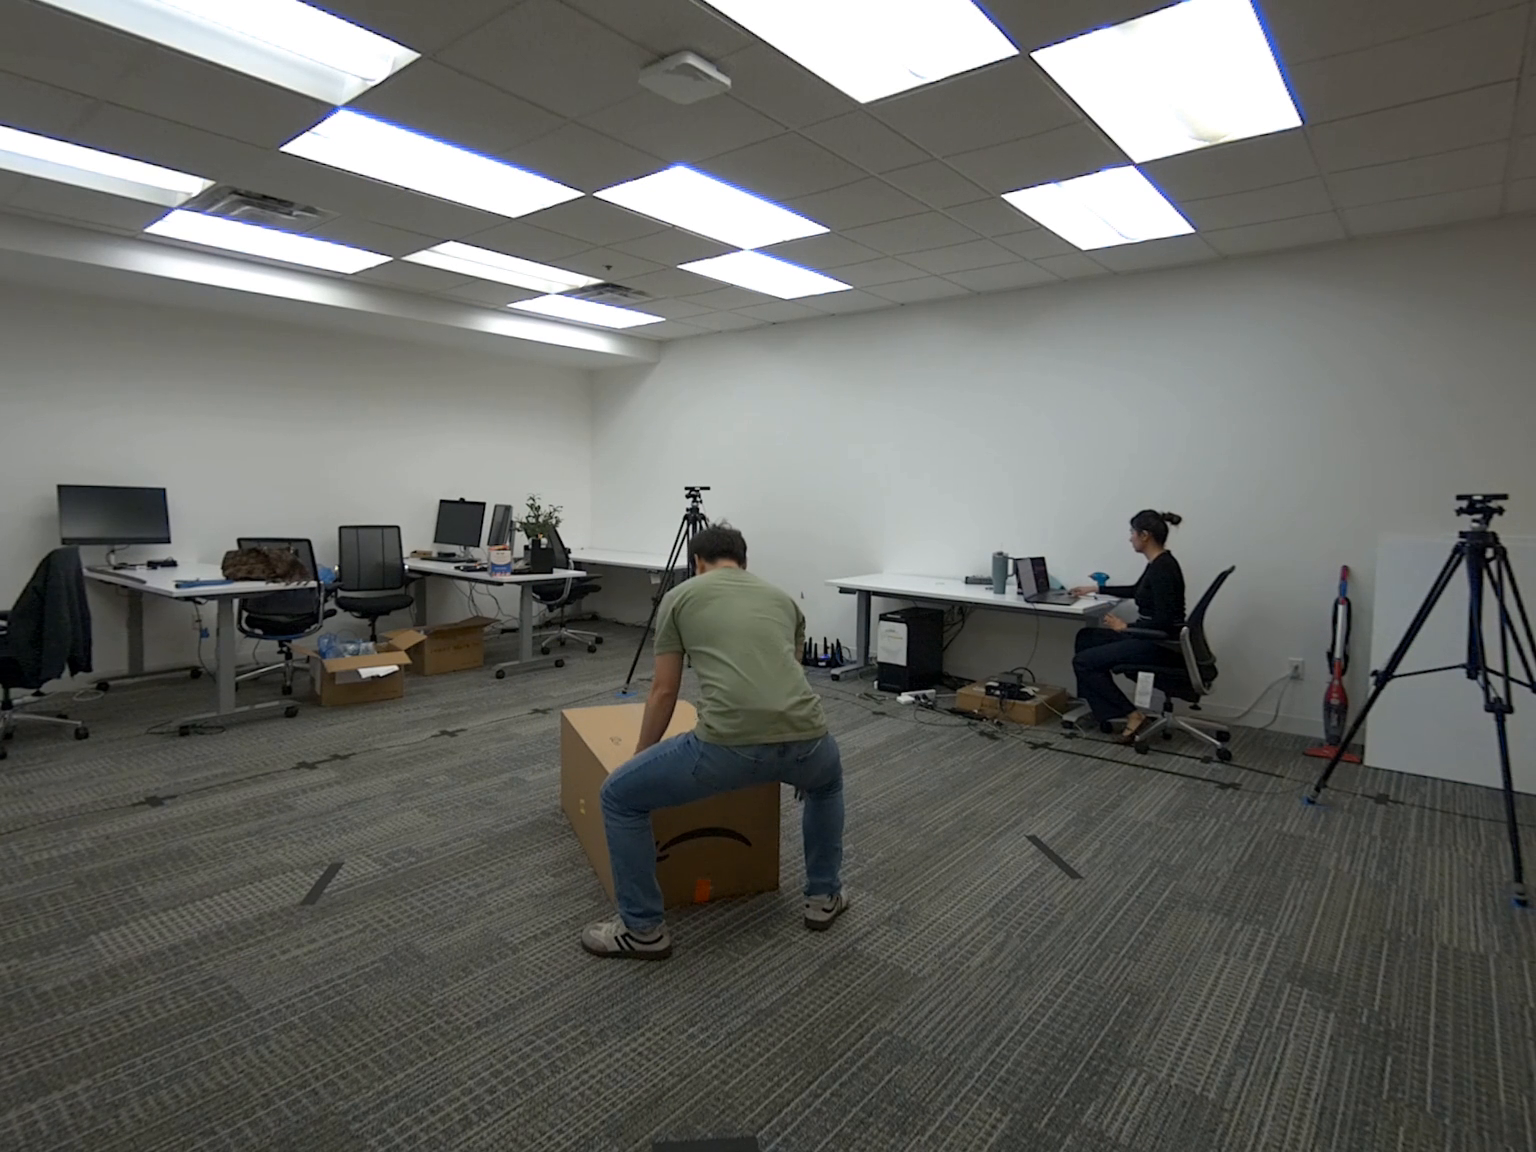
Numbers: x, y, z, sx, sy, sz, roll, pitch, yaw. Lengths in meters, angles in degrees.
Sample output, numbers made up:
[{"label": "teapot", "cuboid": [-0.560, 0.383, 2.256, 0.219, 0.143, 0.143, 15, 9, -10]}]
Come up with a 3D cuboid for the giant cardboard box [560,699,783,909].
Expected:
[{"label": "giant cardboard box", "cuboid": [-0.439, 0.830, 3.311, 0.565, 0.424, 1.053, -1, 6, -23]}]
